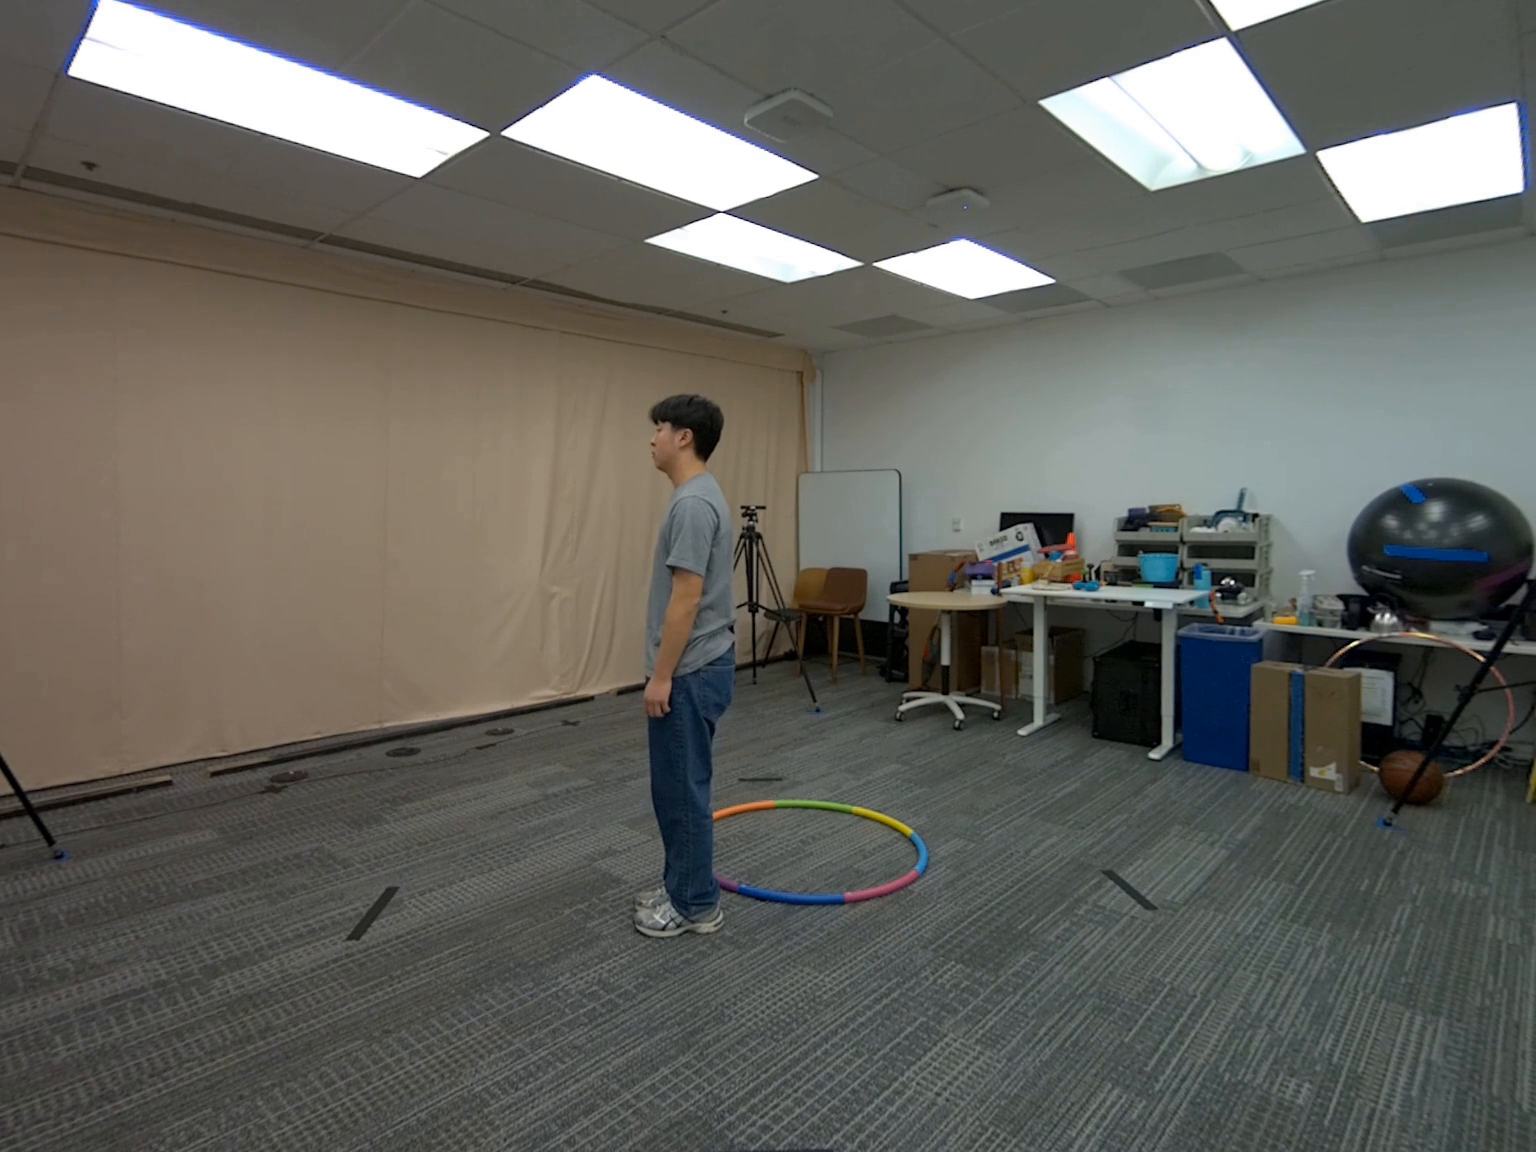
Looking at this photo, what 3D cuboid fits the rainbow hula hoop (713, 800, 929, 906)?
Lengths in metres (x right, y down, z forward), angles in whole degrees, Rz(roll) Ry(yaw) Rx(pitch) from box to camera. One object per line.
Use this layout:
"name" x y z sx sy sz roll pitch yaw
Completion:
"rainbow hula hoop" 0.143 1.075 3.415 0.978 0.035 0.982 -1 5 -2
